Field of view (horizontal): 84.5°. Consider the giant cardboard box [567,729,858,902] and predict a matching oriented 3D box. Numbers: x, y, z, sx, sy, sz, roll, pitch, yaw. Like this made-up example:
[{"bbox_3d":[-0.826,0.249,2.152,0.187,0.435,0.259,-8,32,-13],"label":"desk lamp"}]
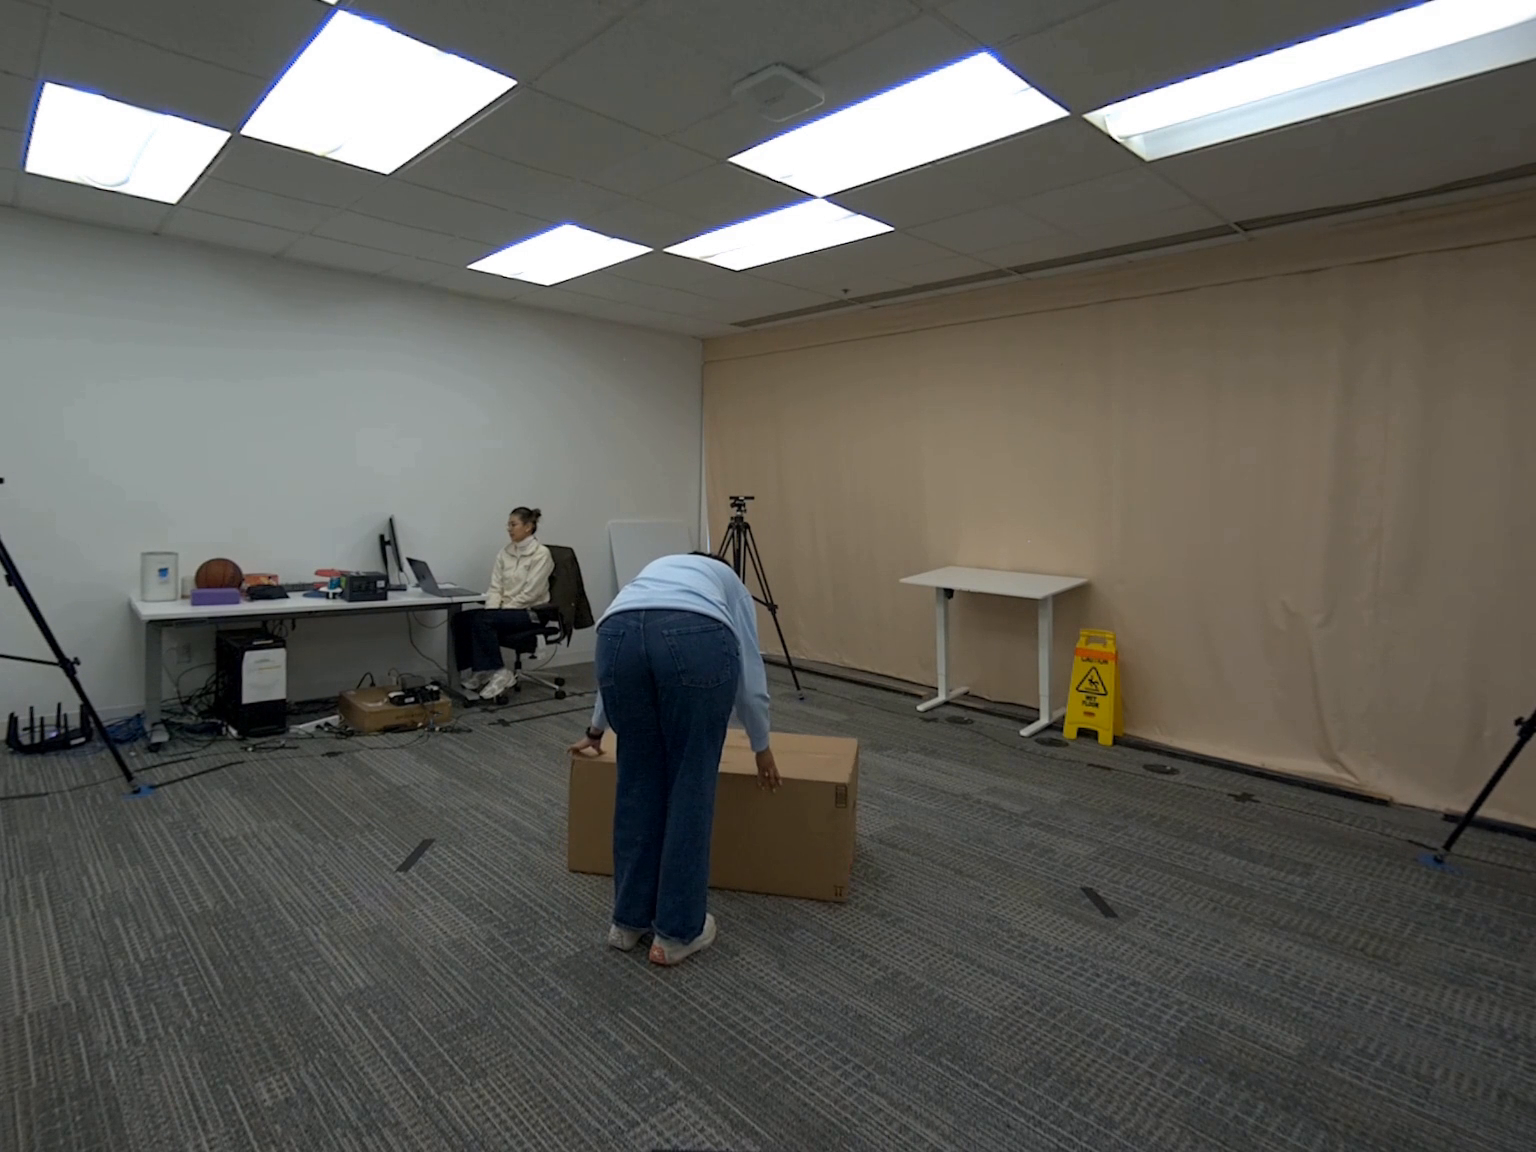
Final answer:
[{"bbox_3d":[-0.186,0.873,3.271,1.035,0.425,0.573,2,4,11],"label":"giant cardboard box"}]
